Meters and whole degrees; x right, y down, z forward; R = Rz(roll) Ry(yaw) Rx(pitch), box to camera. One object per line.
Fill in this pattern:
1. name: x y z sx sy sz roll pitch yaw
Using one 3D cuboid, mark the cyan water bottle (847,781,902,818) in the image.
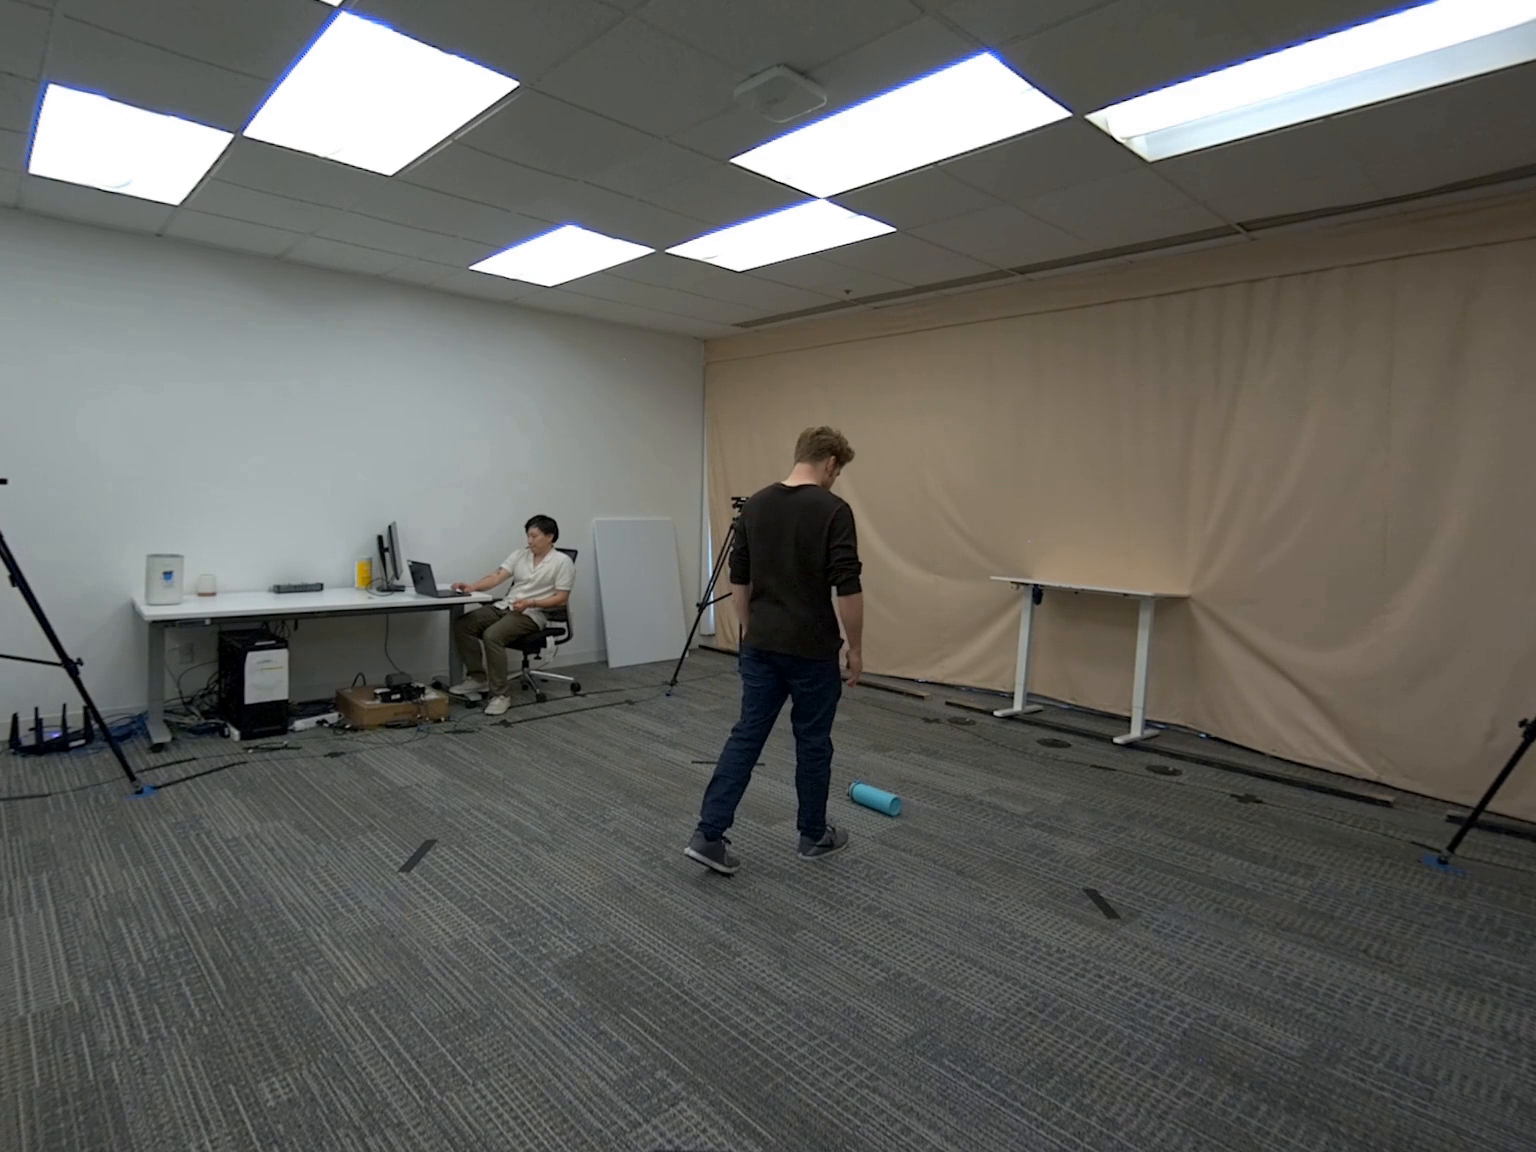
1. cyan water bottle: 0.469 1.010 3.855 0.090 0.092 0.290 -2 6 -38
